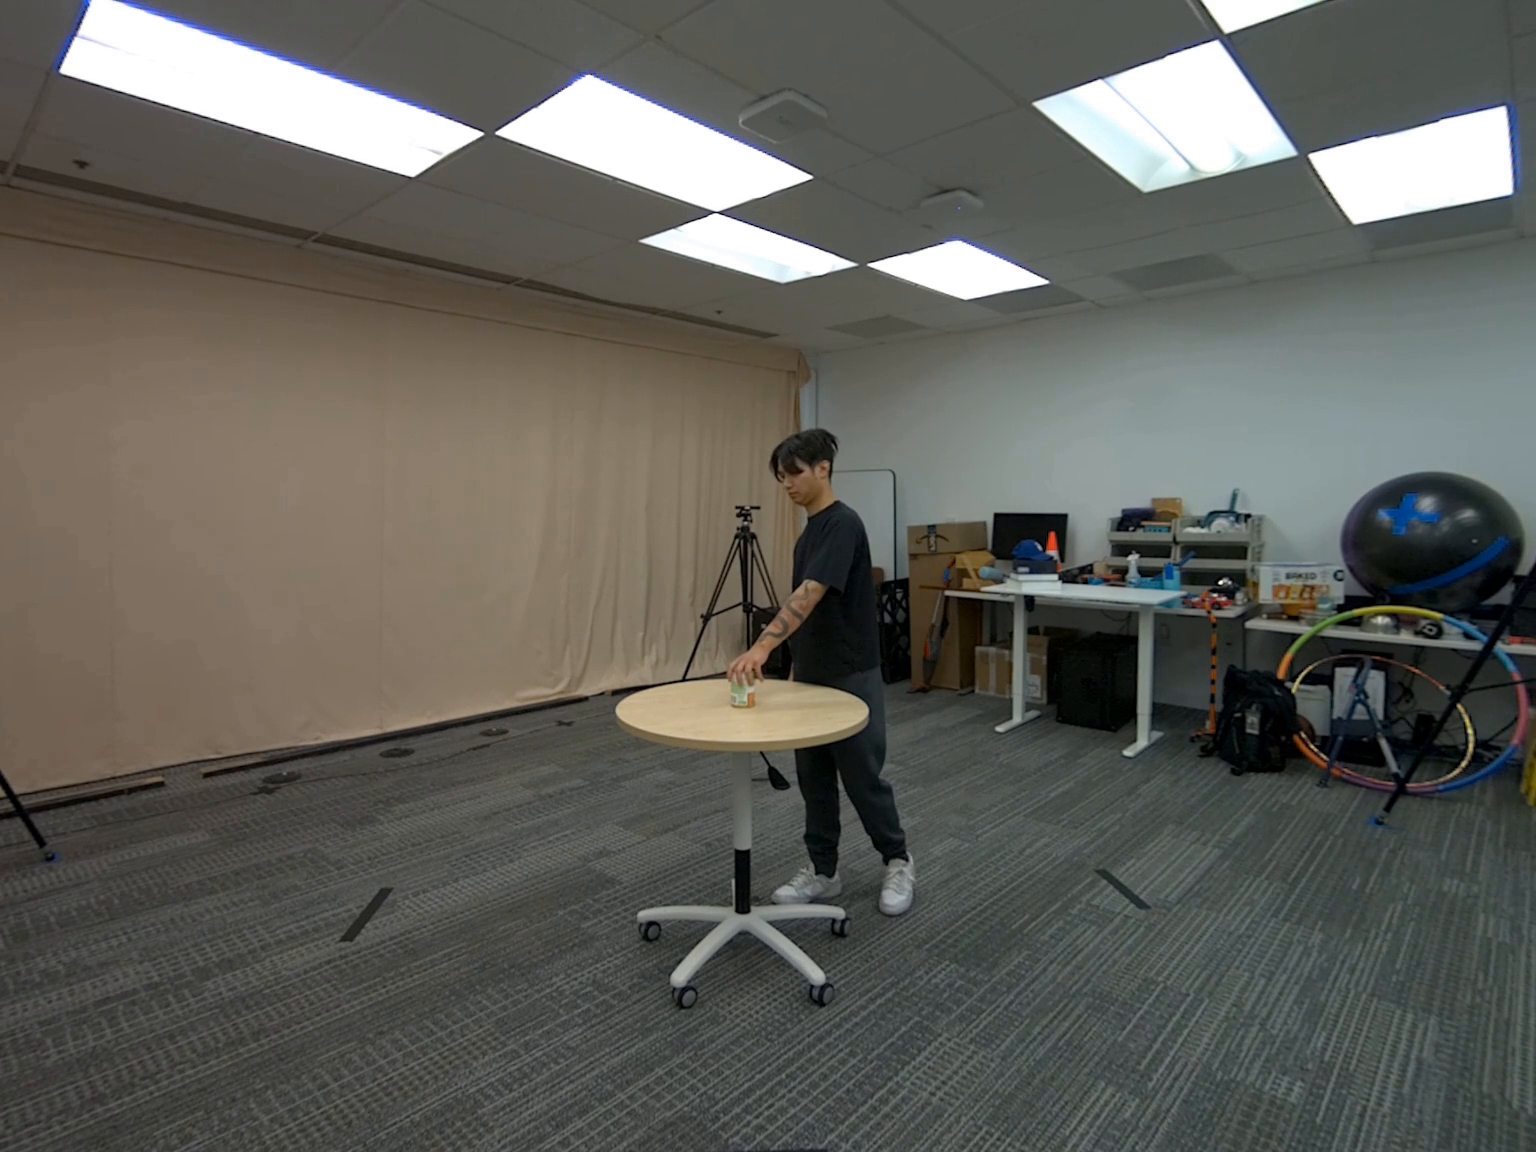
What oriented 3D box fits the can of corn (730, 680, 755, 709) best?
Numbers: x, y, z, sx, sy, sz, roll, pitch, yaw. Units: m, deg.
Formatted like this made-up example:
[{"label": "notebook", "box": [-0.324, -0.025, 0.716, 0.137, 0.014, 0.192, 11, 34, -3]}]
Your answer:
[{"label": "can of corn", "box": [-0.071, 0.340, 2.566, 0.074, 0.111, 0.074, 3, 3, -2]}]
